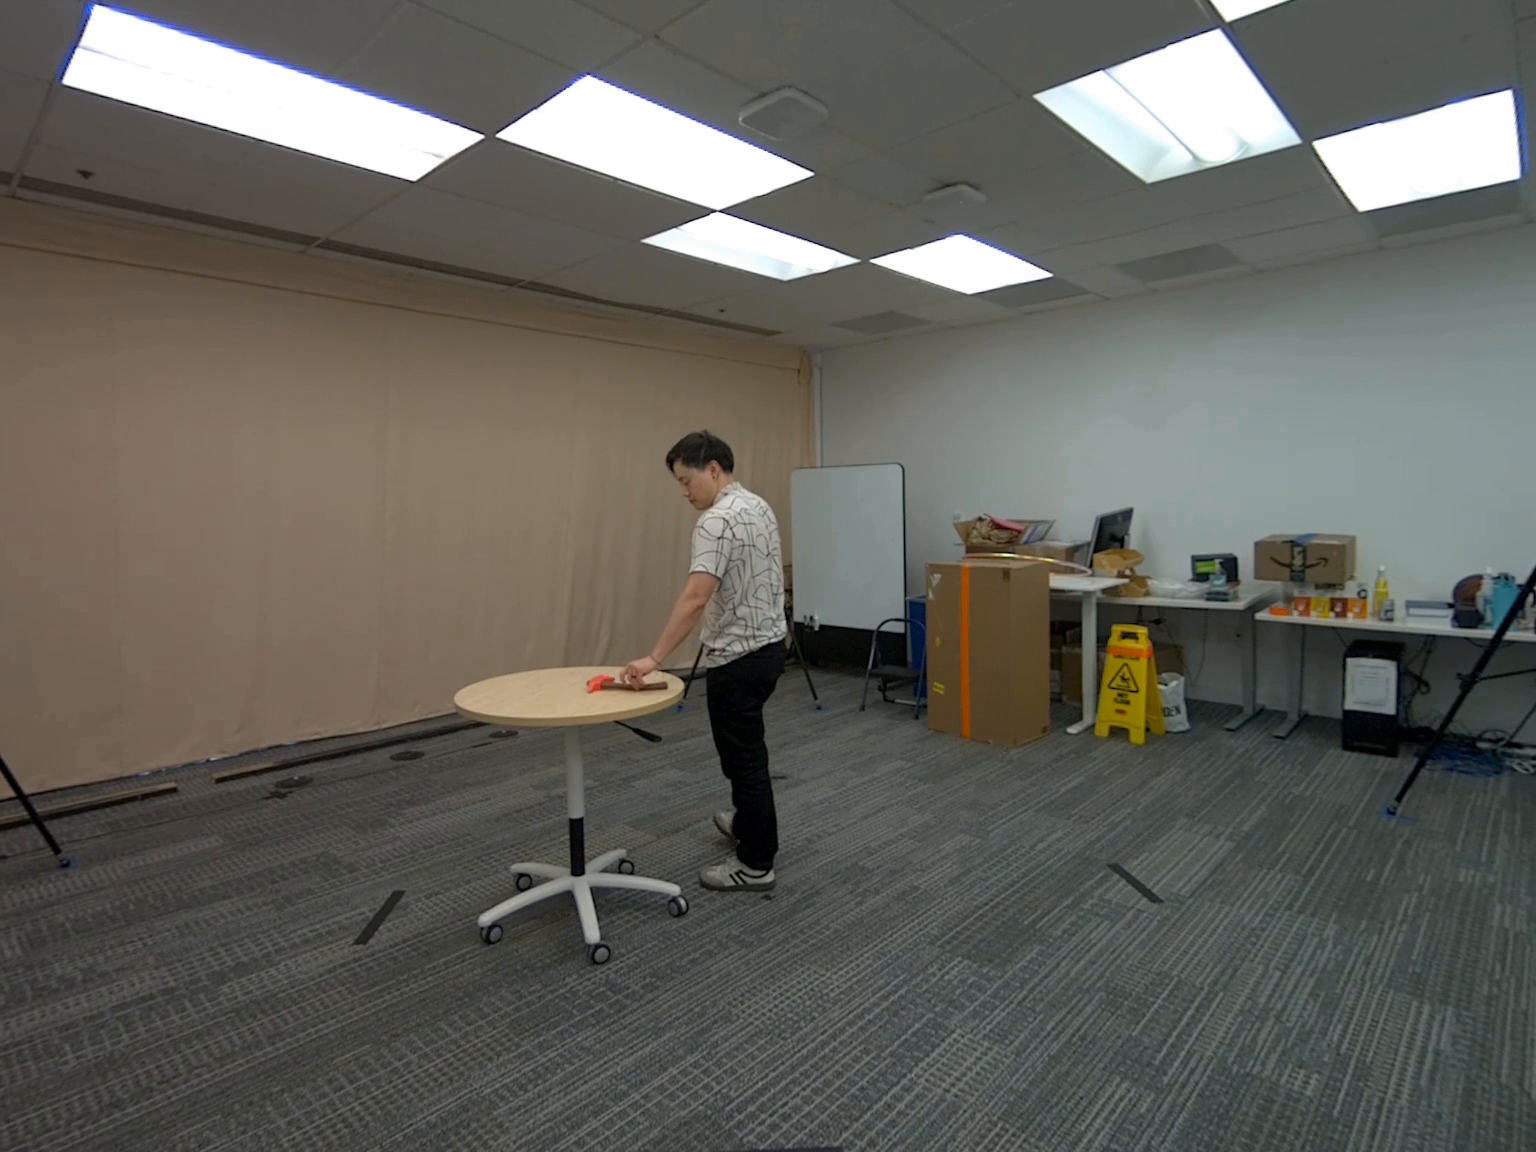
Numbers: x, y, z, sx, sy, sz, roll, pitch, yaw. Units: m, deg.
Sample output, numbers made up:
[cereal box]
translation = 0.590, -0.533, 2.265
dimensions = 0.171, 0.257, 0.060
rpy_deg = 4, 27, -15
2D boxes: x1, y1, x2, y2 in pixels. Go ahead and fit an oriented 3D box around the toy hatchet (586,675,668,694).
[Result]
[toy hatchet]
translation = -0.480, 0.362, 2.850
dimensions = 0.268, 0.029, 0.133
rpy_deg = -2, 15, -8
